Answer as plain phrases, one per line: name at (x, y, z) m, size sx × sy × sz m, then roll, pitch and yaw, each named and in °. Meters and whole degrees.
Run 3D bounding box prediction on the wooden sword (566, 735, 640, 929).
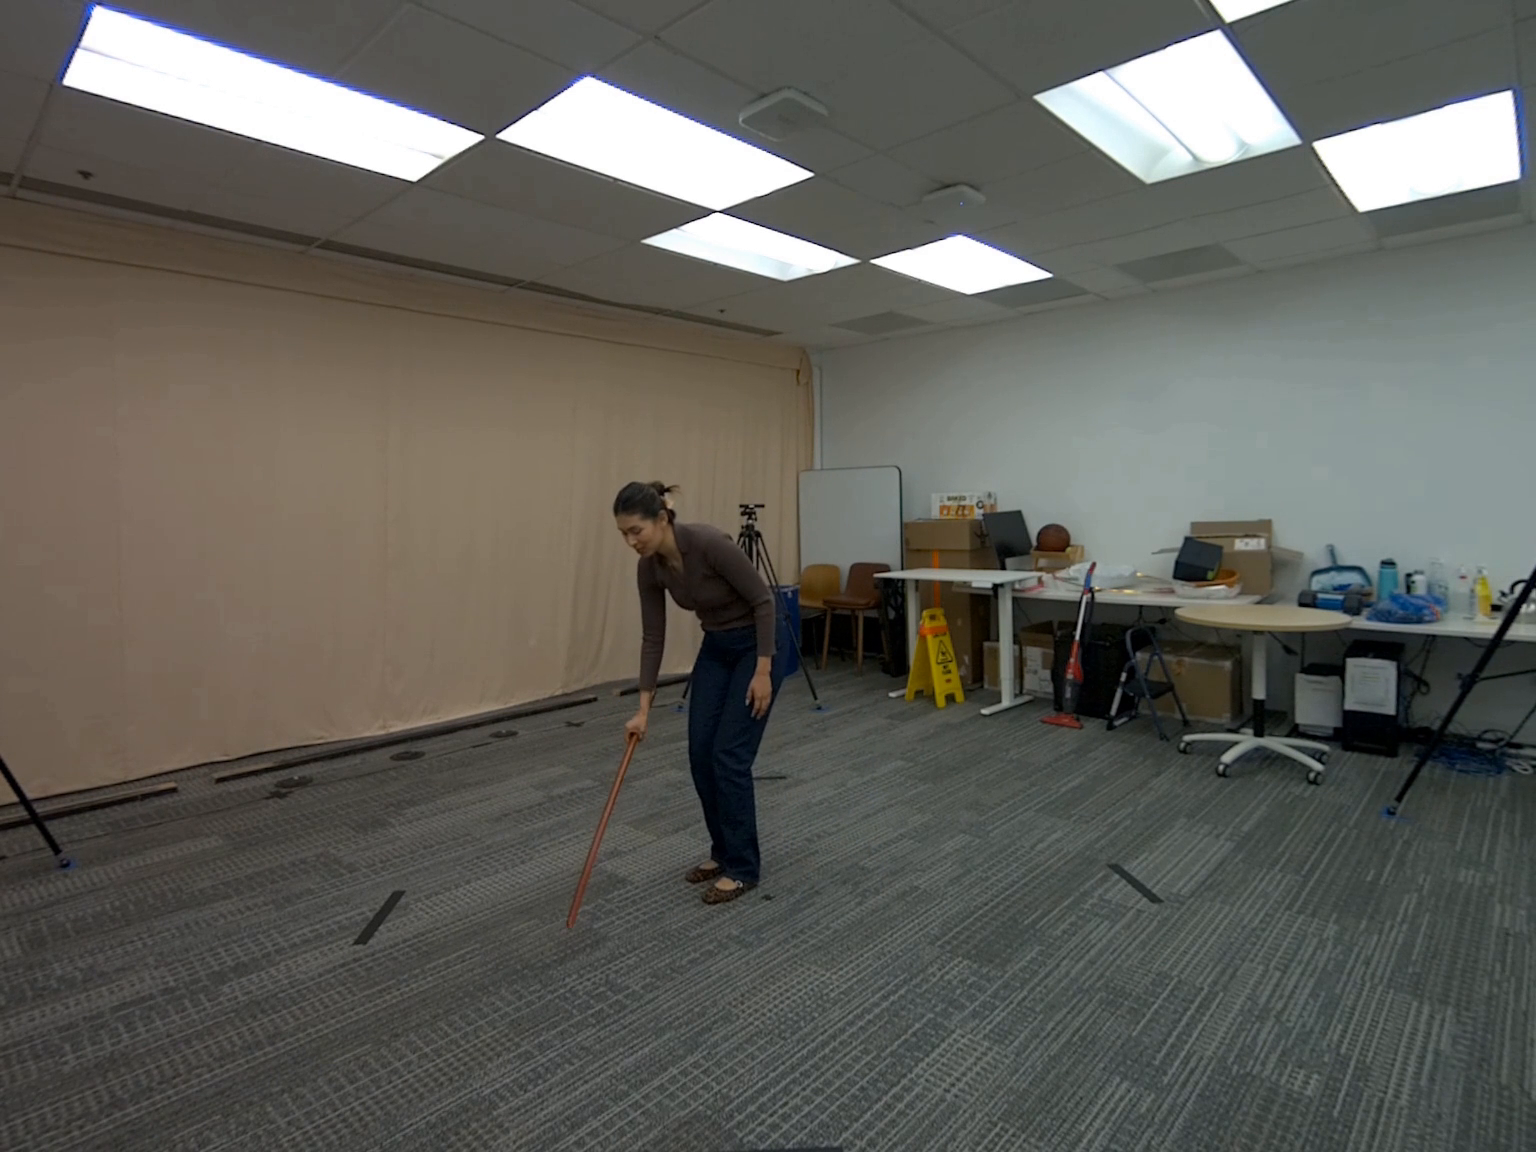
wooden sword at (-0.512, 0.751, 2.855) m, size 0.024 × 0.050 × 1.035 m, roll -20°, pitch 30°, yaw 20°
